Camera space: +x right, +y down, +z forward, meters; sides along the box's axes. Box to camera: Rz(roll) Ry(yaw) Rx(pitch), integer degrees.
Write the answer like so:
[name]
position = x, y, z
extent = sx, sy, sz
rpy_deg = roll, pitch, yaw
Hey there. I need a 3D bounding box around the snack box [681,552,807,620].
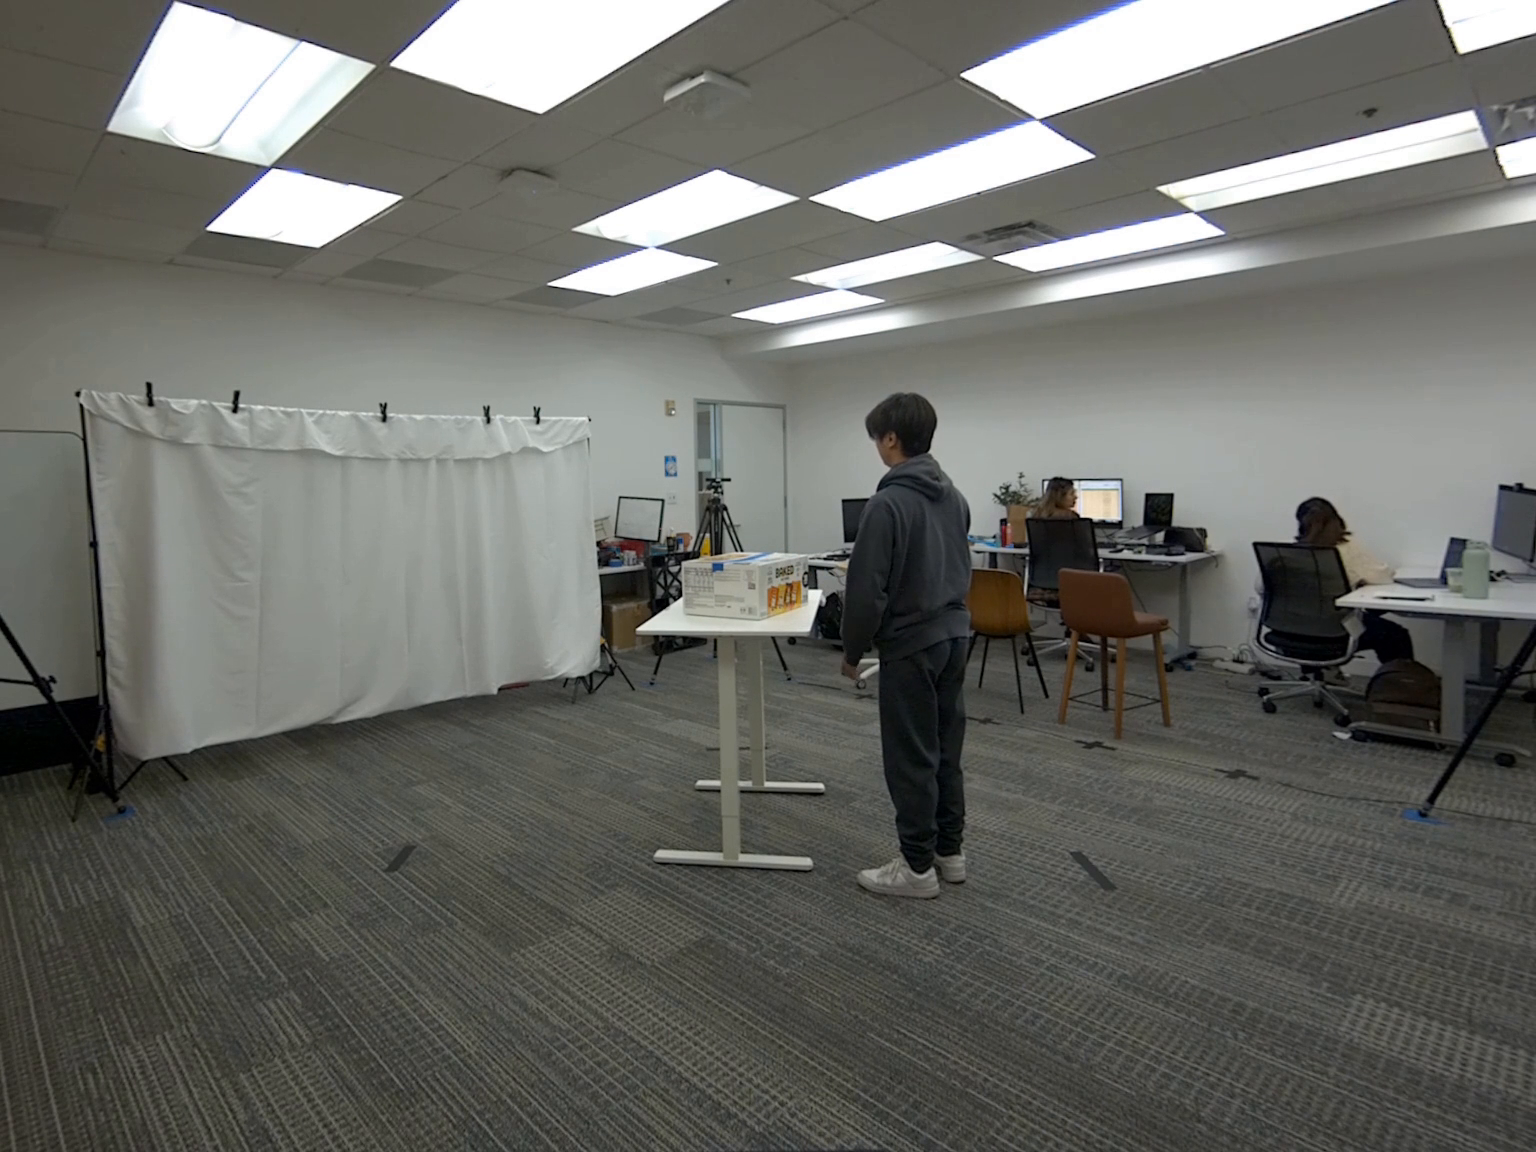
[snack box]
position = -0.079, 0.033, 3.336
extent = 0.349, 0.205, 0.397
rpy_deg = 2, 7, 30
